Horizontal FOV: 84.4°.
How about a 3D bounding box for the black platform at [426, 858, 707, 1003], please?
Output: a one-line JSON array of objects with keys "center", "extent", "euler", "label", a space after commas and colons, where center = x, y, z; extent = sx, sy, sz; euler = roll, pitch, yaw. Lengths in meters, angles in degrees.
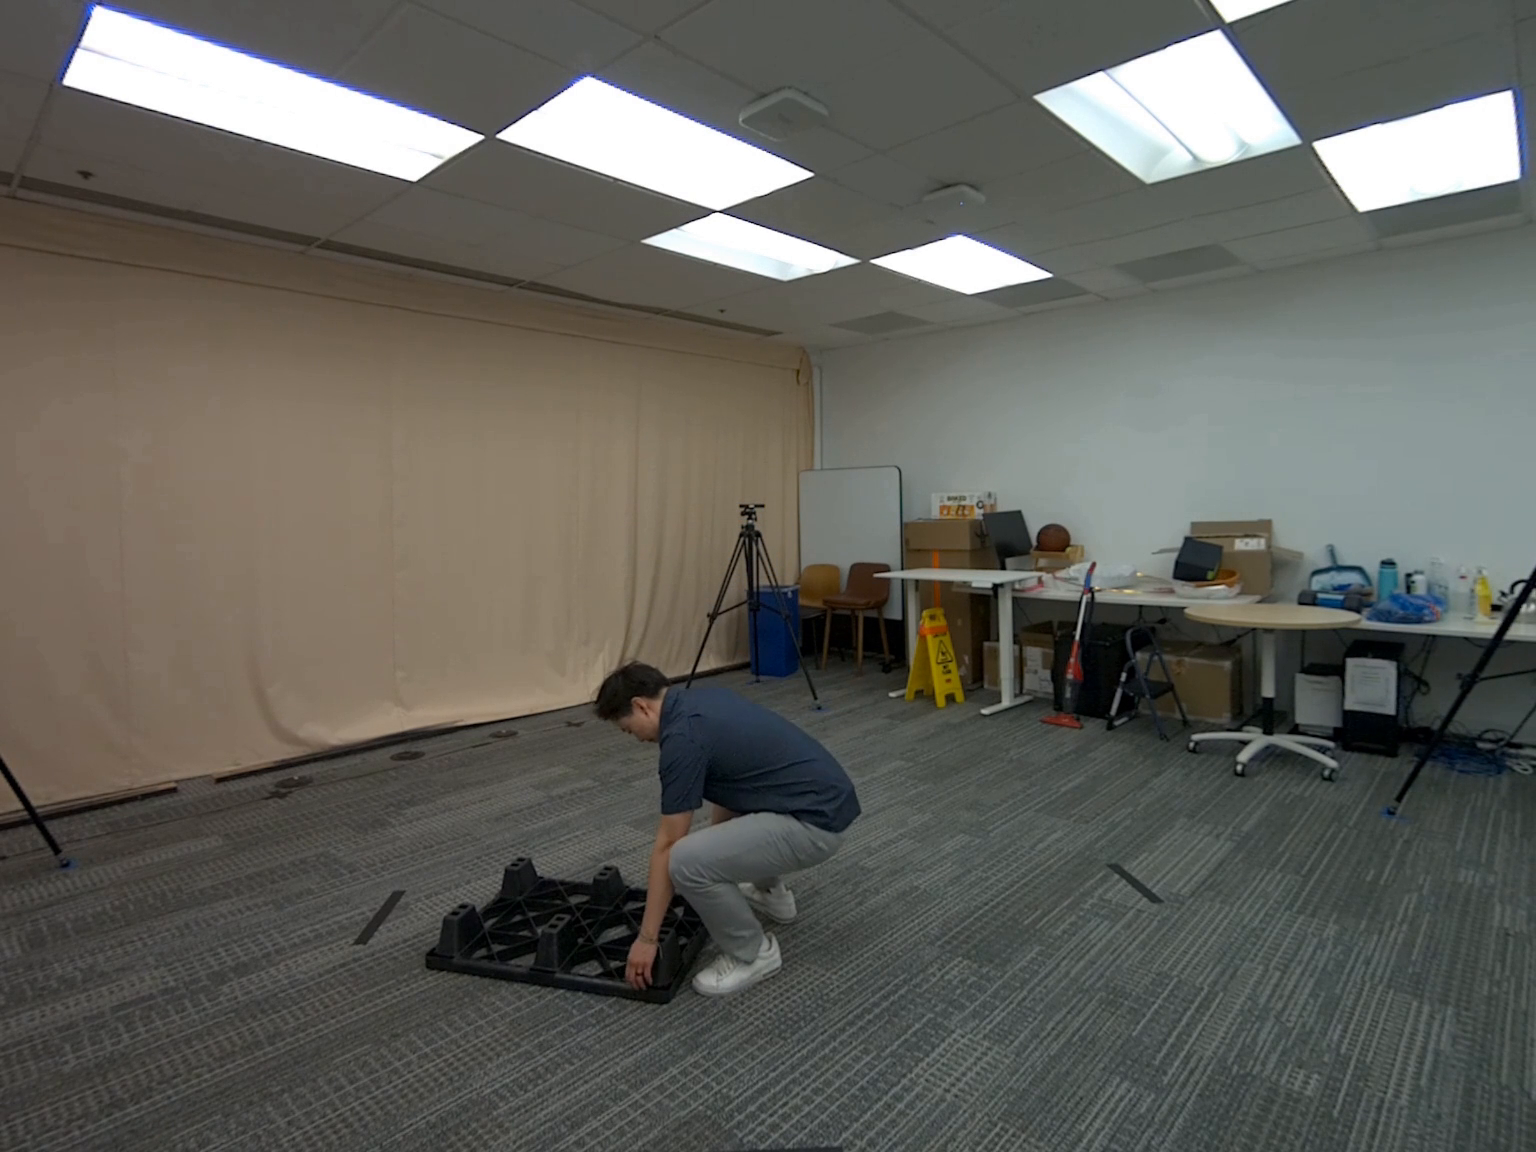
[{"center": [-0.606, 1.113, 2.734], "extent": [0.819, 0.143, 0.597], "euler": [0, 5, 15], "label": "black platform"}]
